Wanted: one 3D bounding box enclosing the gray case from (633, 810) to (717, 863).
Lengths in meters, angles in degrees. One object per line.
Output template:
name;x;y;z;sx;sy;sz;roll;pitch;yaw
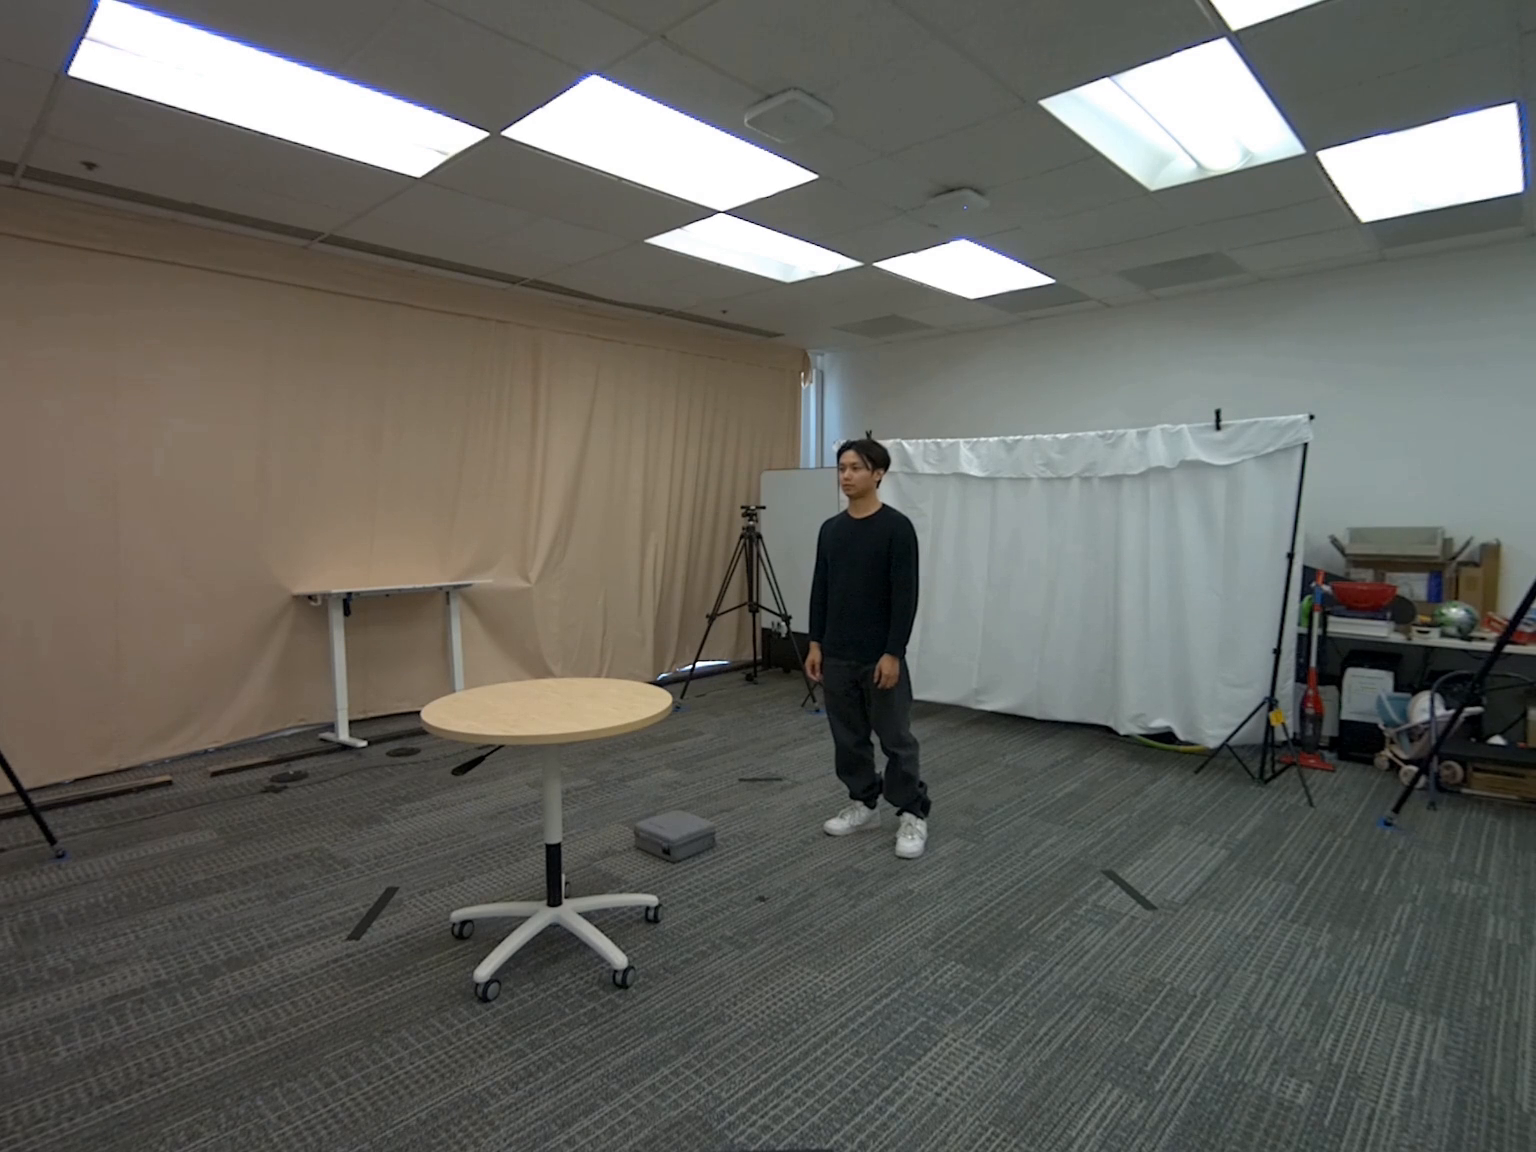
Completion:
gray case;-0.382;1.052;3.444;0.265;0.104;0.253;2;5;43
